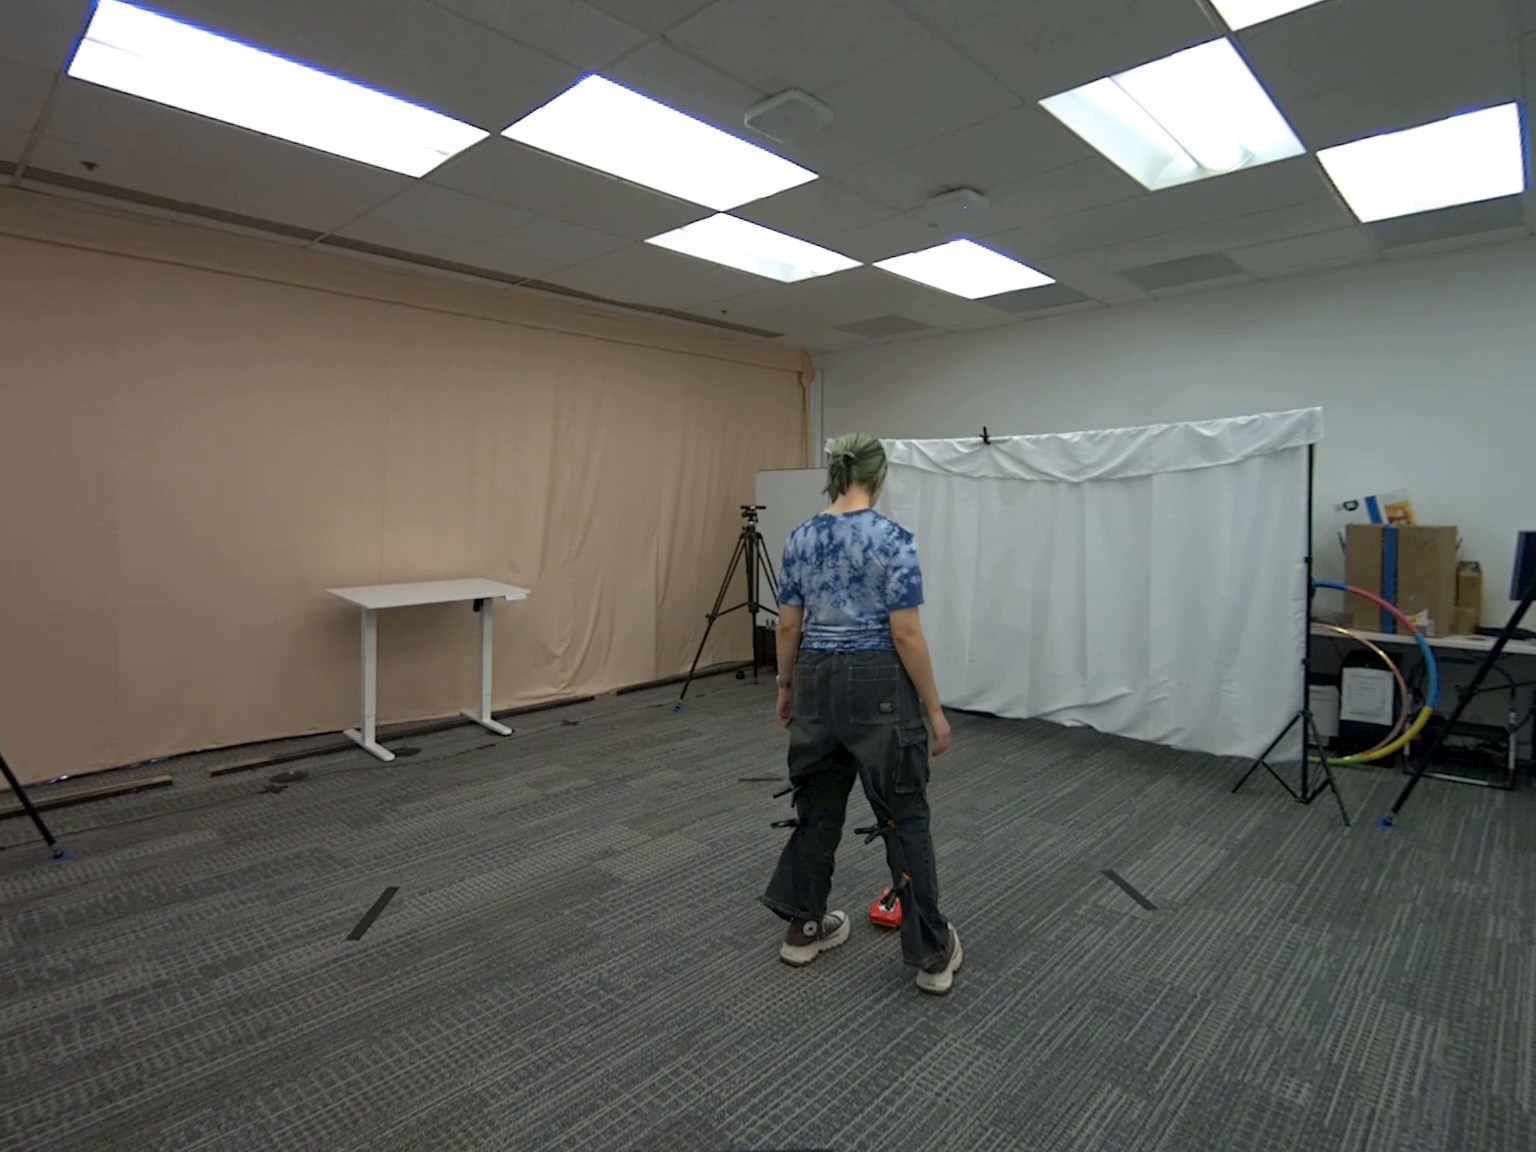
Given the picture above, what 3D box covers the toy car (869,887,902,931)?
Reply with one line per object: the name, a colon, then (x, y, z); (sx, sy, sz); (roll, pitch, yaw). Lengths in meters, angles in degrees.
toy car: (0.422, 1.124, 2.842); (0.133, 0.083, 0.247); (3, -5, 24)
